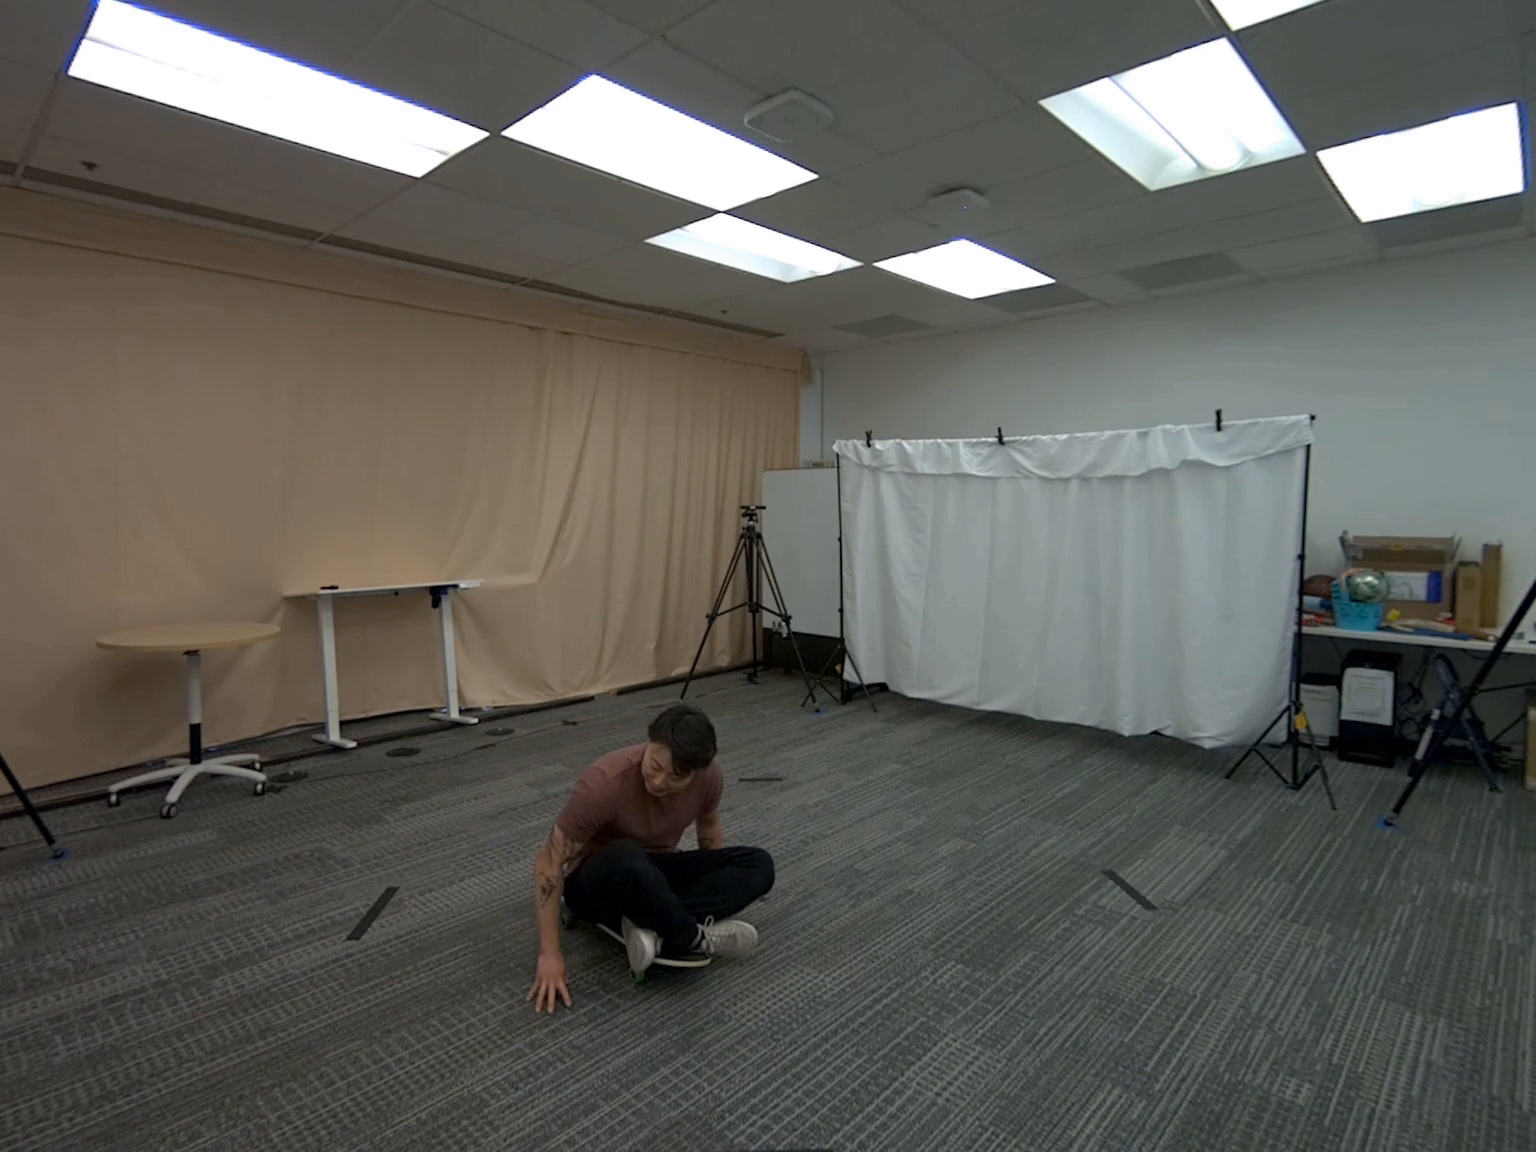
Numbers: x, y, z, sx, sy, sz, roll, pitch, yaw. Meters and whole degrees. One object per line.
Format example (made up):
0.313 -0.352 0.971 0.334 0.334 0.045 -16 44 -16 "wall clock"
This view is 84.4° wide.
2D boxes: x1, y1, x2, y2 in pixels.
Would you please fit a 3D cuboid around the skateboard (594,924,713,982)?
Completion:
-0.481 1.120 2.661 0.187 0.110 0.810 11 -5 -37 "skateboard"
